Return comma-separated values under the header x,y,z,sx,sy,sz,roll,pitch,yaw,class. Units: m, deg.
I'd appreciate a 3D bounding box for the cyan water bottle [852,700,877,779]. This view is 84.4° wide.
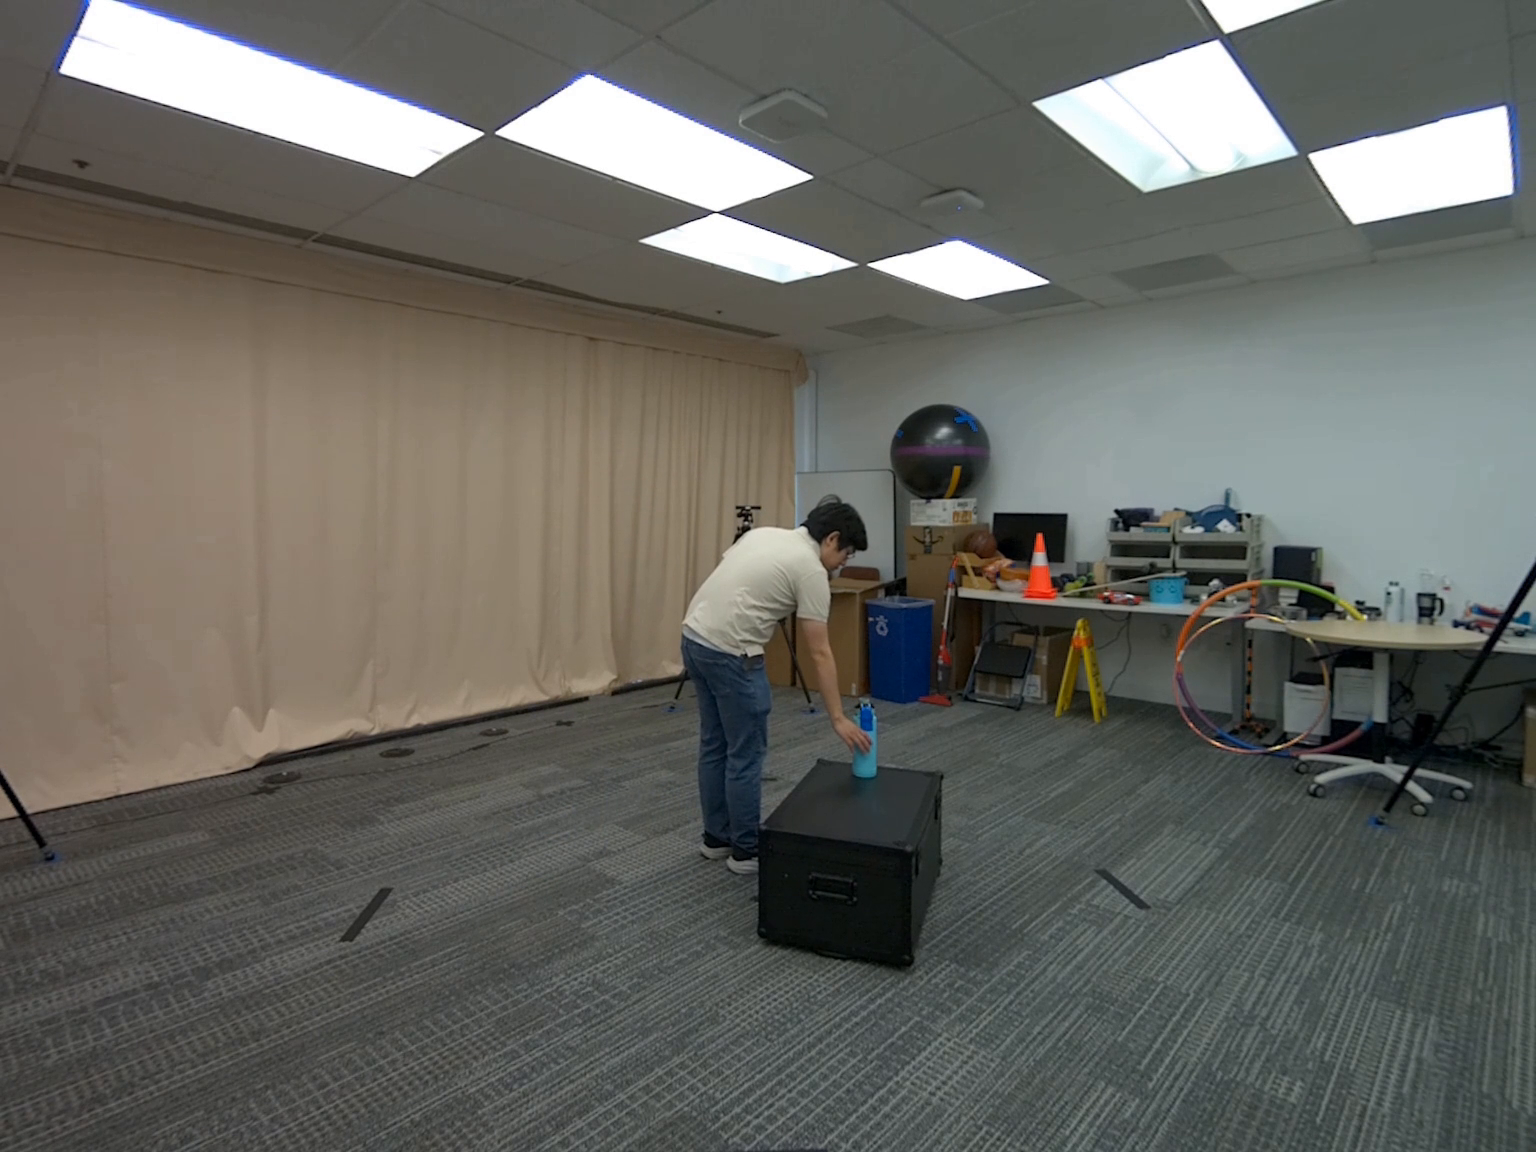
x,y,z,sx,sy,sz,roll,pitch,yaw,class
0.374,0.612,3.181,0.092,0.283,0.092,0,3,-2,cyan water bottle
